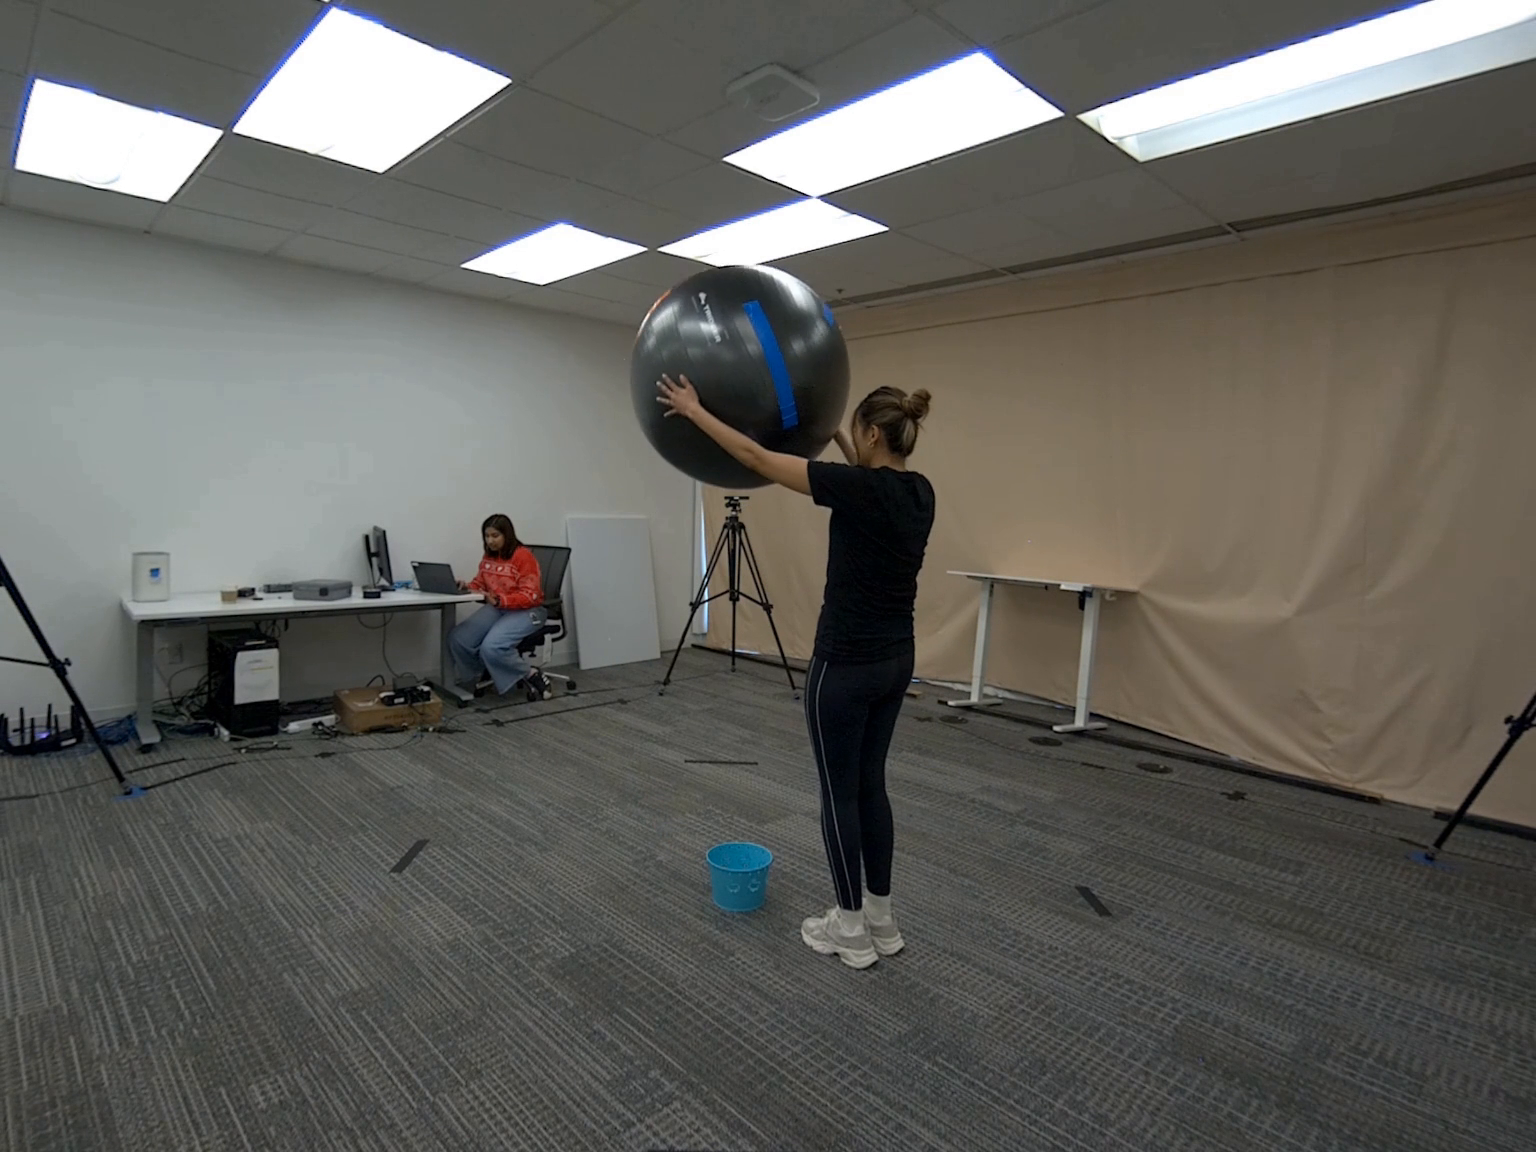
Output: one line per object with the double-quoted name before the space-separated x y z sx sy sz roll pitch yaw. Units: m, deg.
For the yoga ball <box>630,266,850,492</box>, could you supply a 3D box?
"yoga ball" -0.107 -0.667 2.902 0.757 0.756 0.761 1 4 -1
